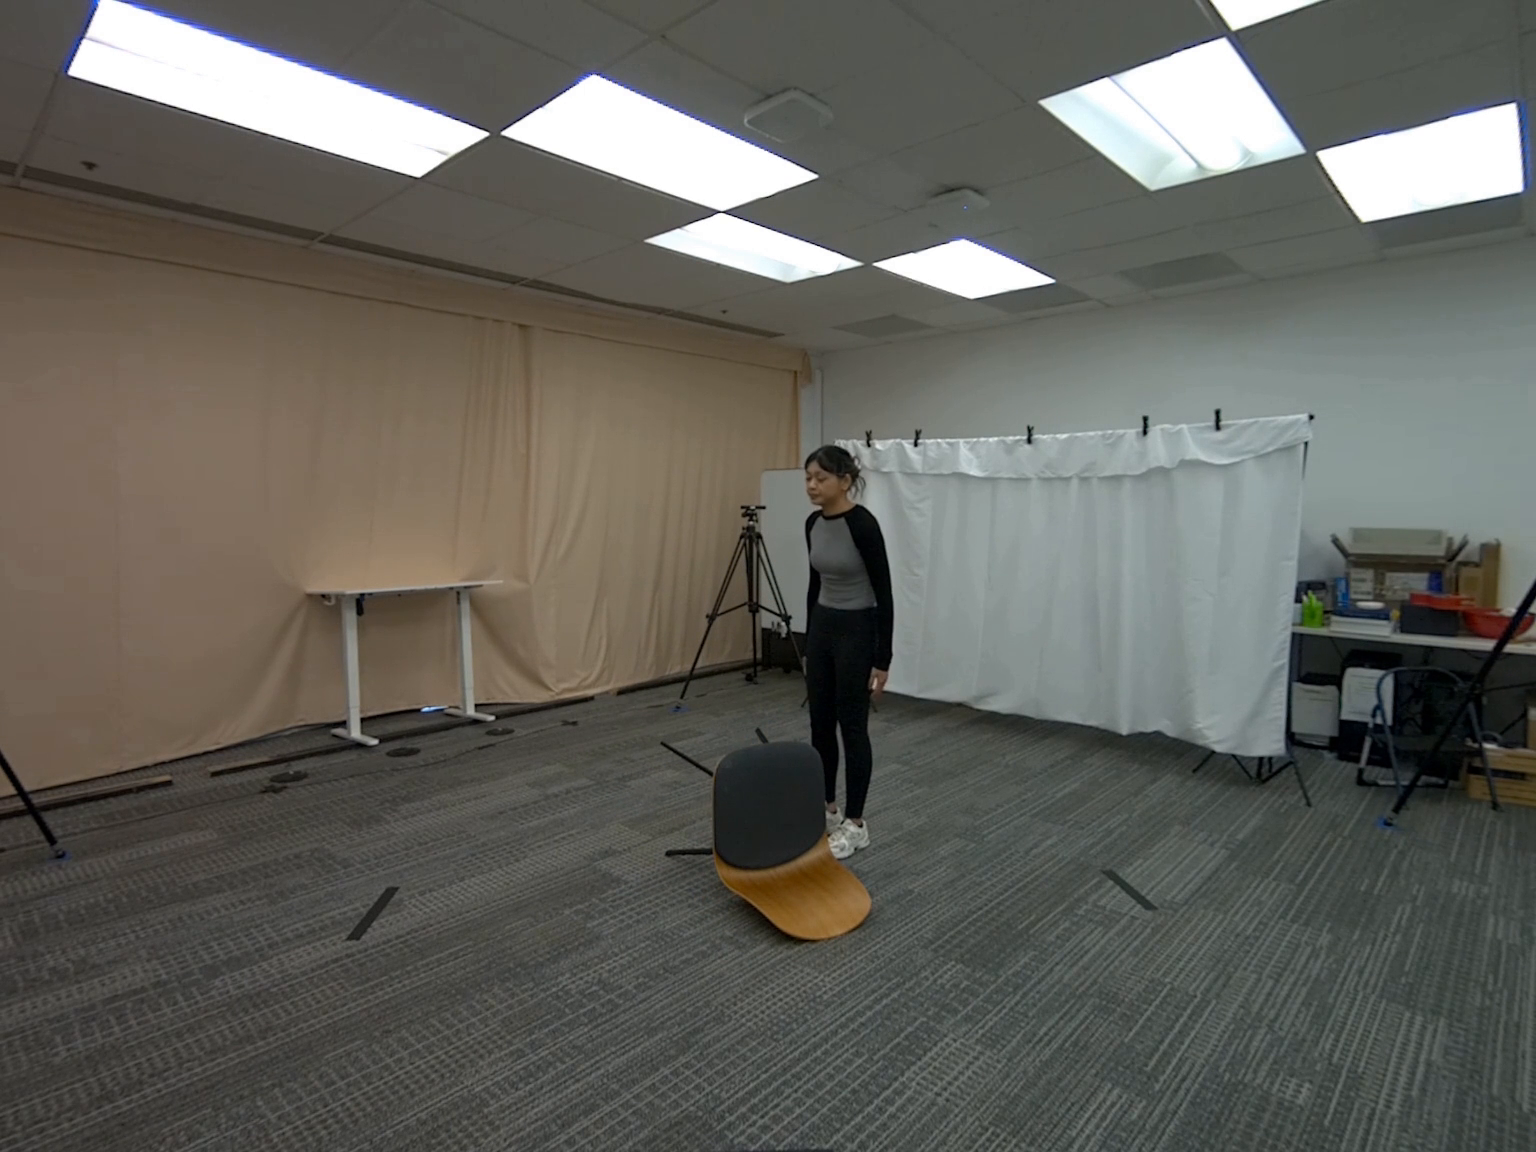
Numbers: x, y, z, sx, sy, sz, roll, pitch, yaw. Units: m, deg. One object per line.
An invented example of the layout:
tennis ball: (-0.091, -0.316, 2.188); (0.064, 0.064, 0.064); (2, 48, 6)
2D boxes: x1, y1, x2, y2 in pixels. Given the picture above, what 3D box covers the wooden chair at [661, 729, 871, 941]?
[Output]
wooden chair: (-0.008, 0.874, 3.085); (0.466, 0.521, 0.903); (-3, 6, -29)
